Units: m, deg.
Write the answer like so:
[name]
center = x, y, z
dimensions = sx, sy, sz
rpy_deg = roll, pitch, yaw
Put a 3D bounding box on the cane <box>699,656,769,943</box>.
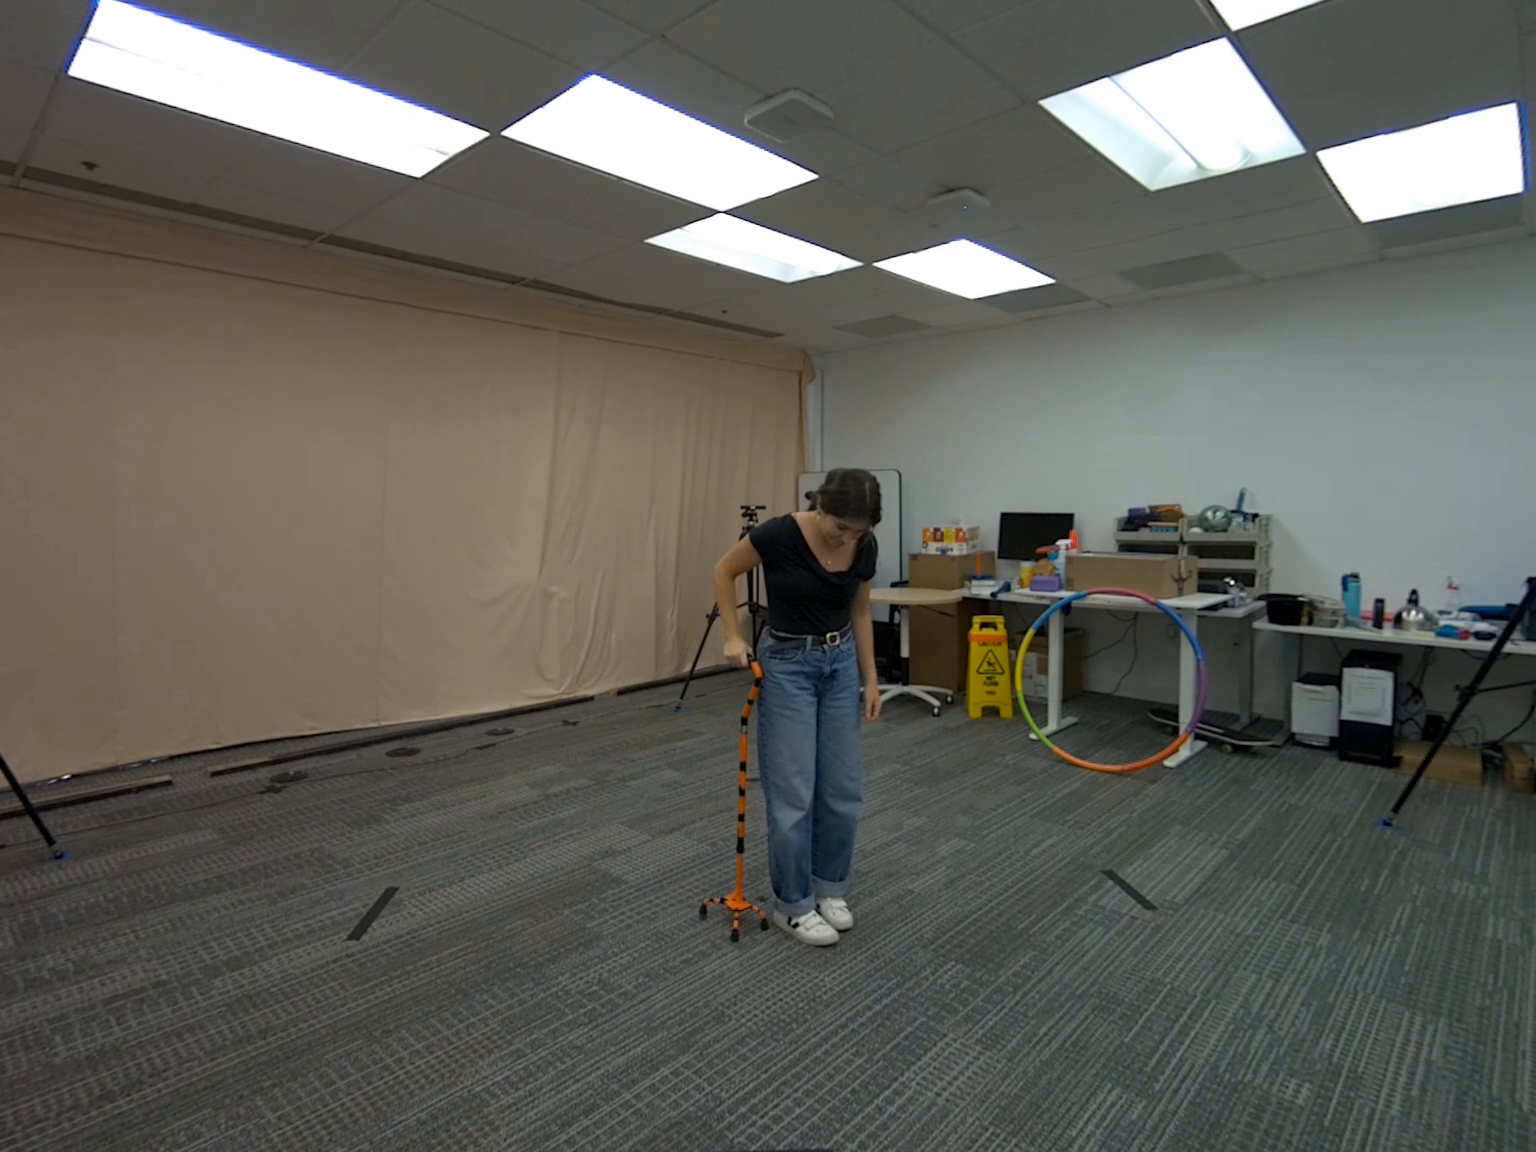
[cane]
center = -0.096, 0.707, 2.752
dimensions = 0.147, 0.904, 0.214
rpy_deg = -5, 10, -41
